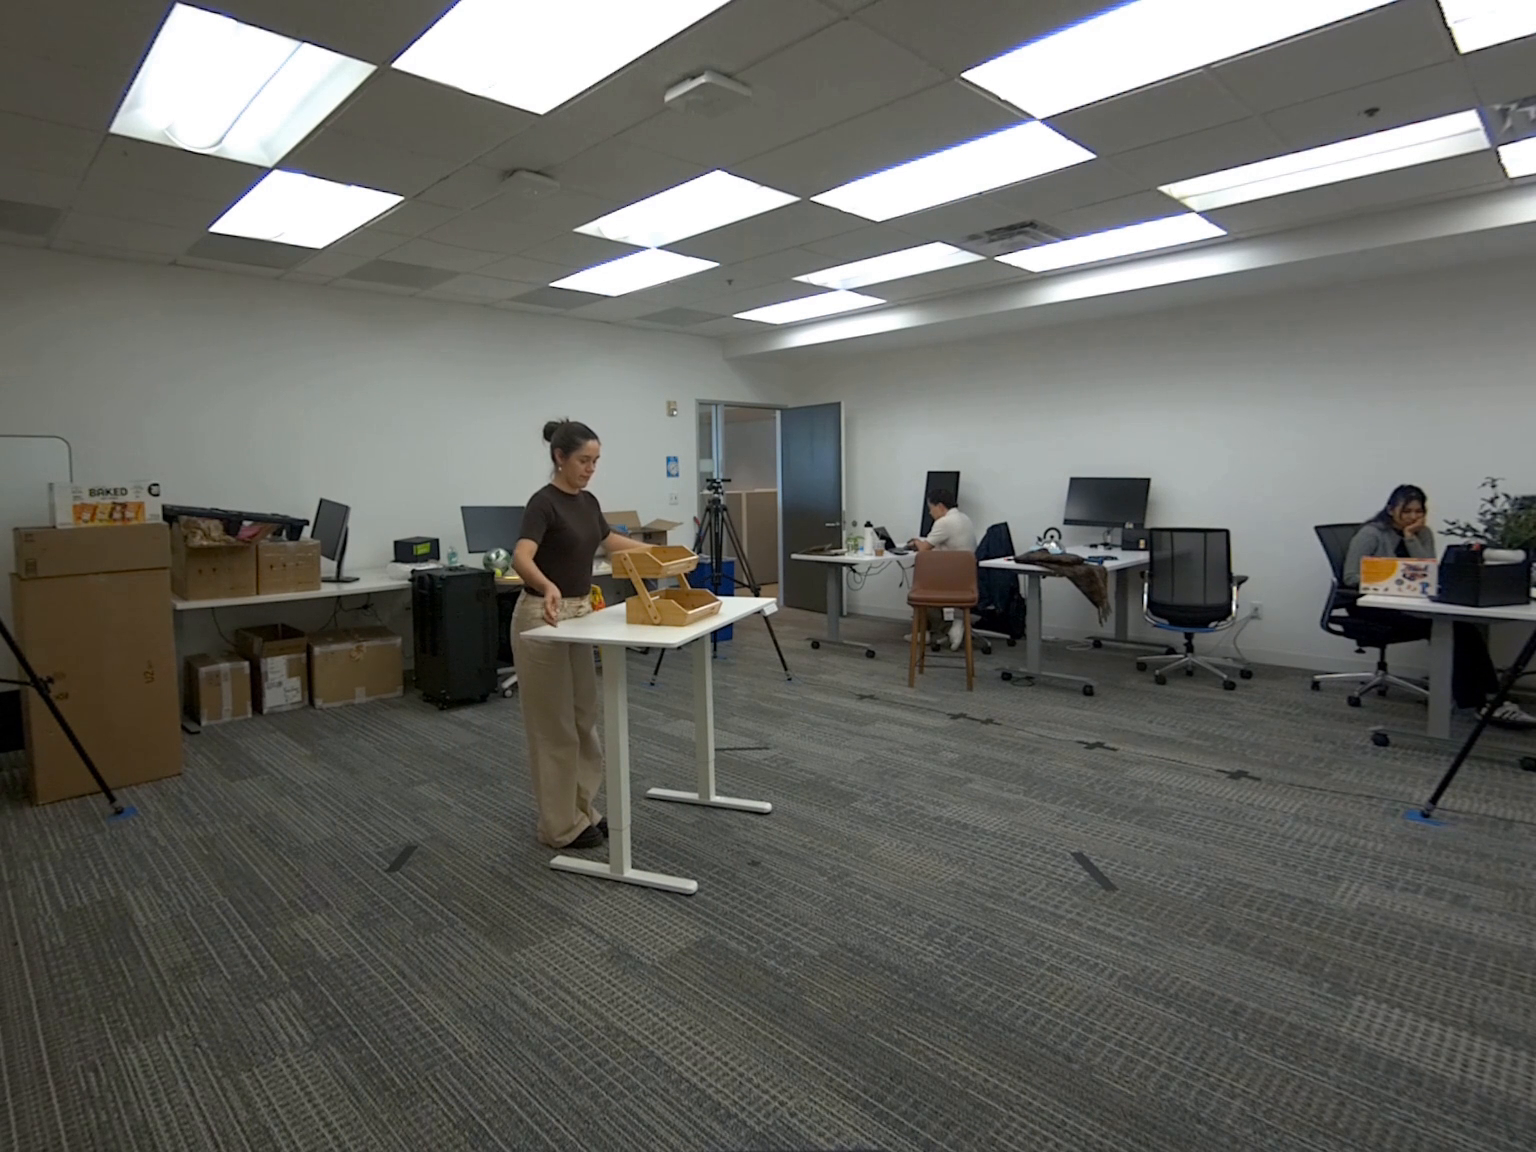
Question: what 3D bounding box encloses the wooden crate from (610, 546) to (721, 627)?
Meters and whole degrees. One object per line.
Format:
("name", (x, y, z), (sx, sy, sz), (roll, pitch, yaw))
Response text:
("wooden crate", (-0.368, 0.028, 3.181), (0.308, 0.272, 0.319), (0, 5, 22))
